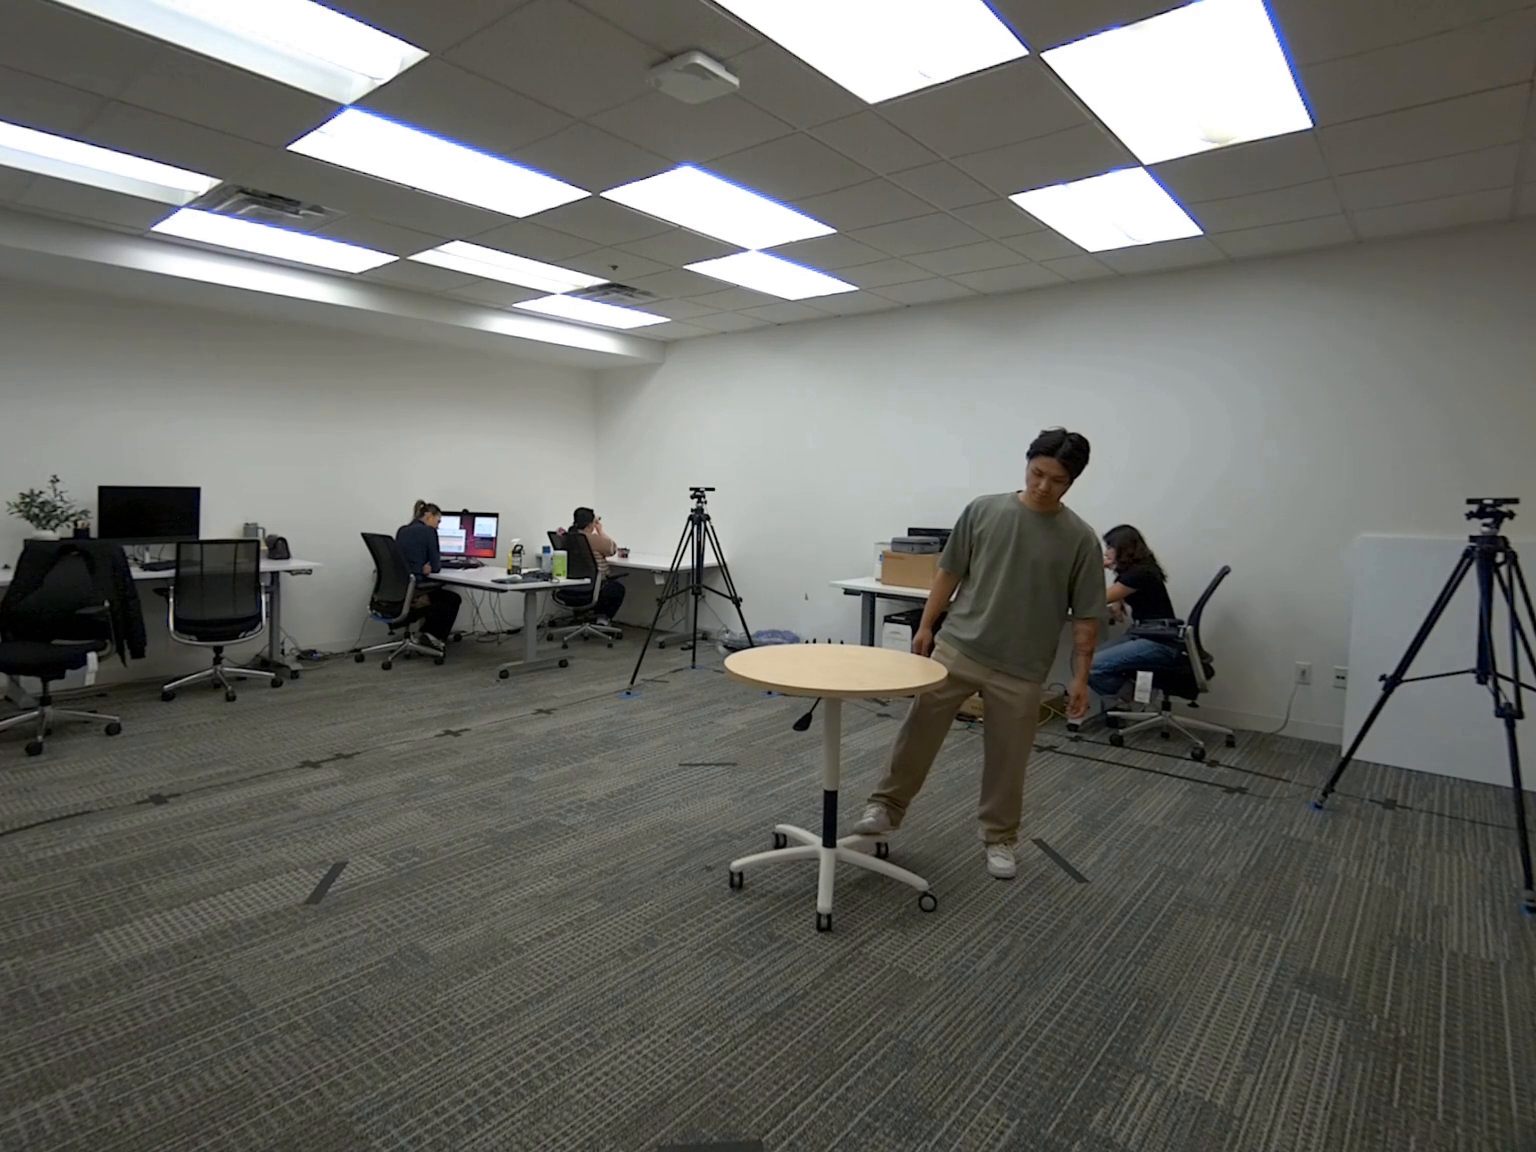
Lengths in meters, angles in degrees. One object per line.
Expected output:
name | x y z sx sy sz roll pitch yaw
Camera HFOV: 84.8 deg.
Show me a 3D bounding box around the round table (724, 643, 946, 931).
round table | 0.203 0.695 2.976 0.784 0.784 0.789 1 4 -2
